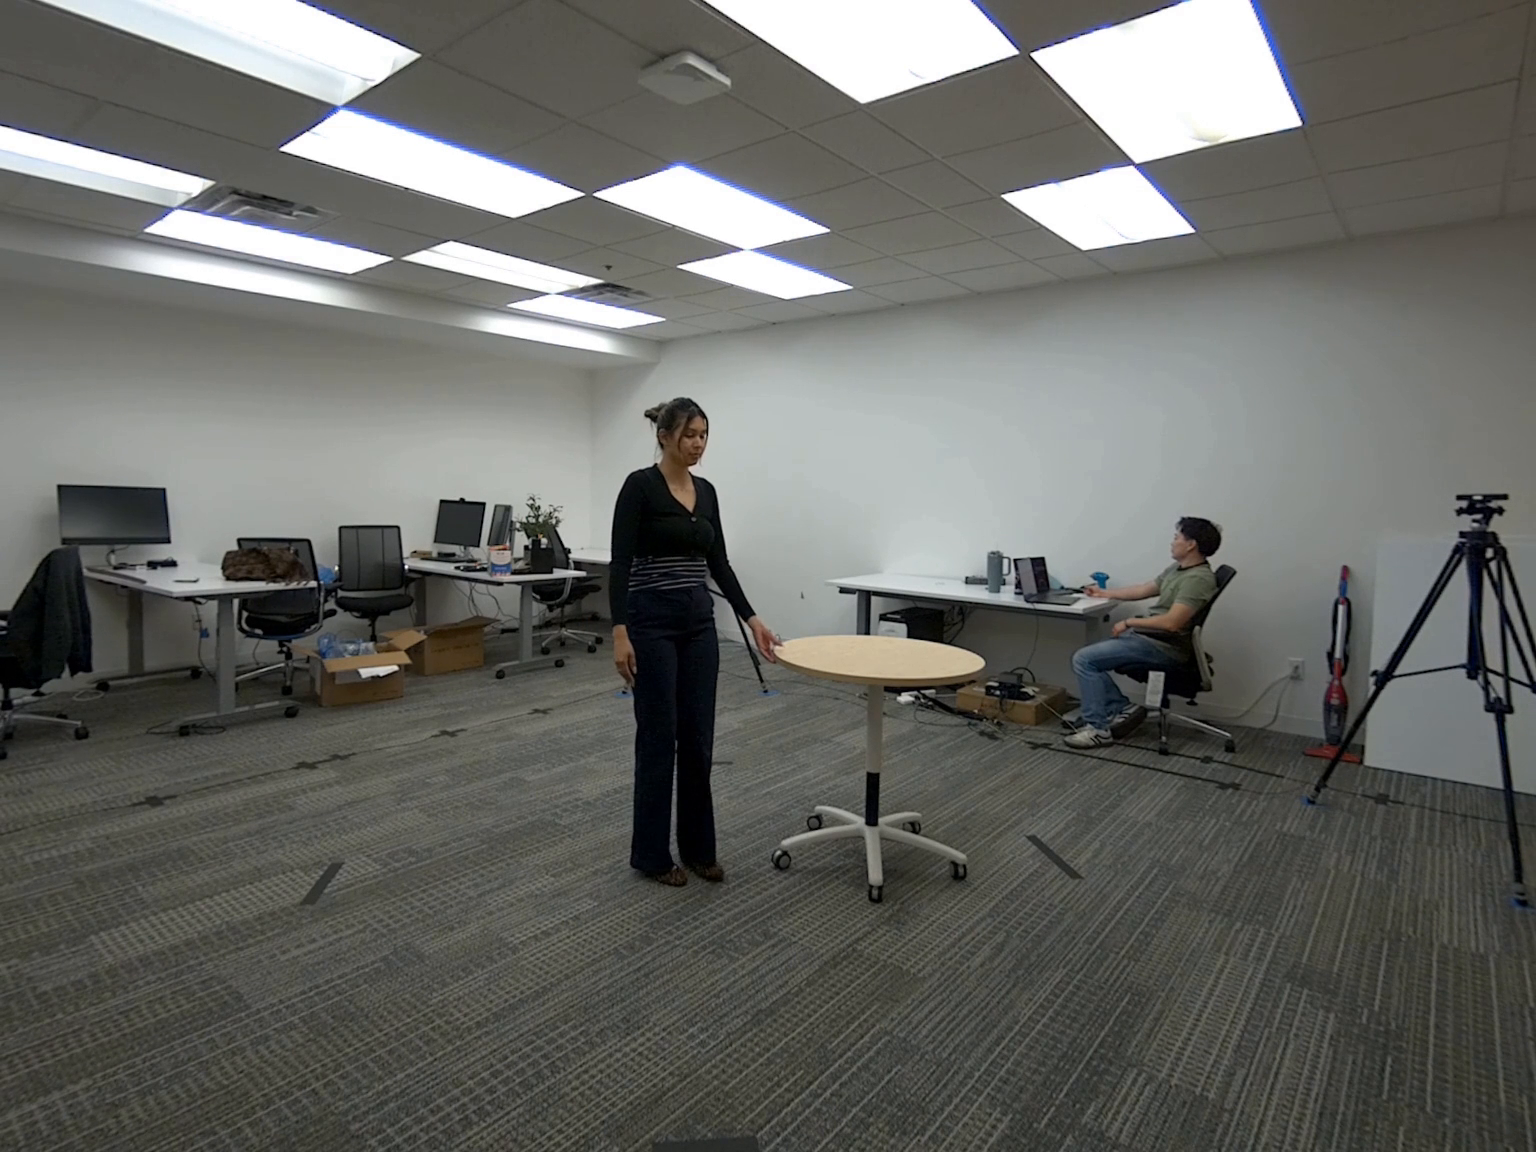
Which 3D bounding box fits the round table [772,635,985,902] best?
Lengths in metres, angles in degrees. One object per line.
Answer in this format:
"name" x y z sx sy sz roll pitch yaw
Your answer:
"round table" 0.387 0.682 3.182 0.763 0.791 0.768 1 5 -2
